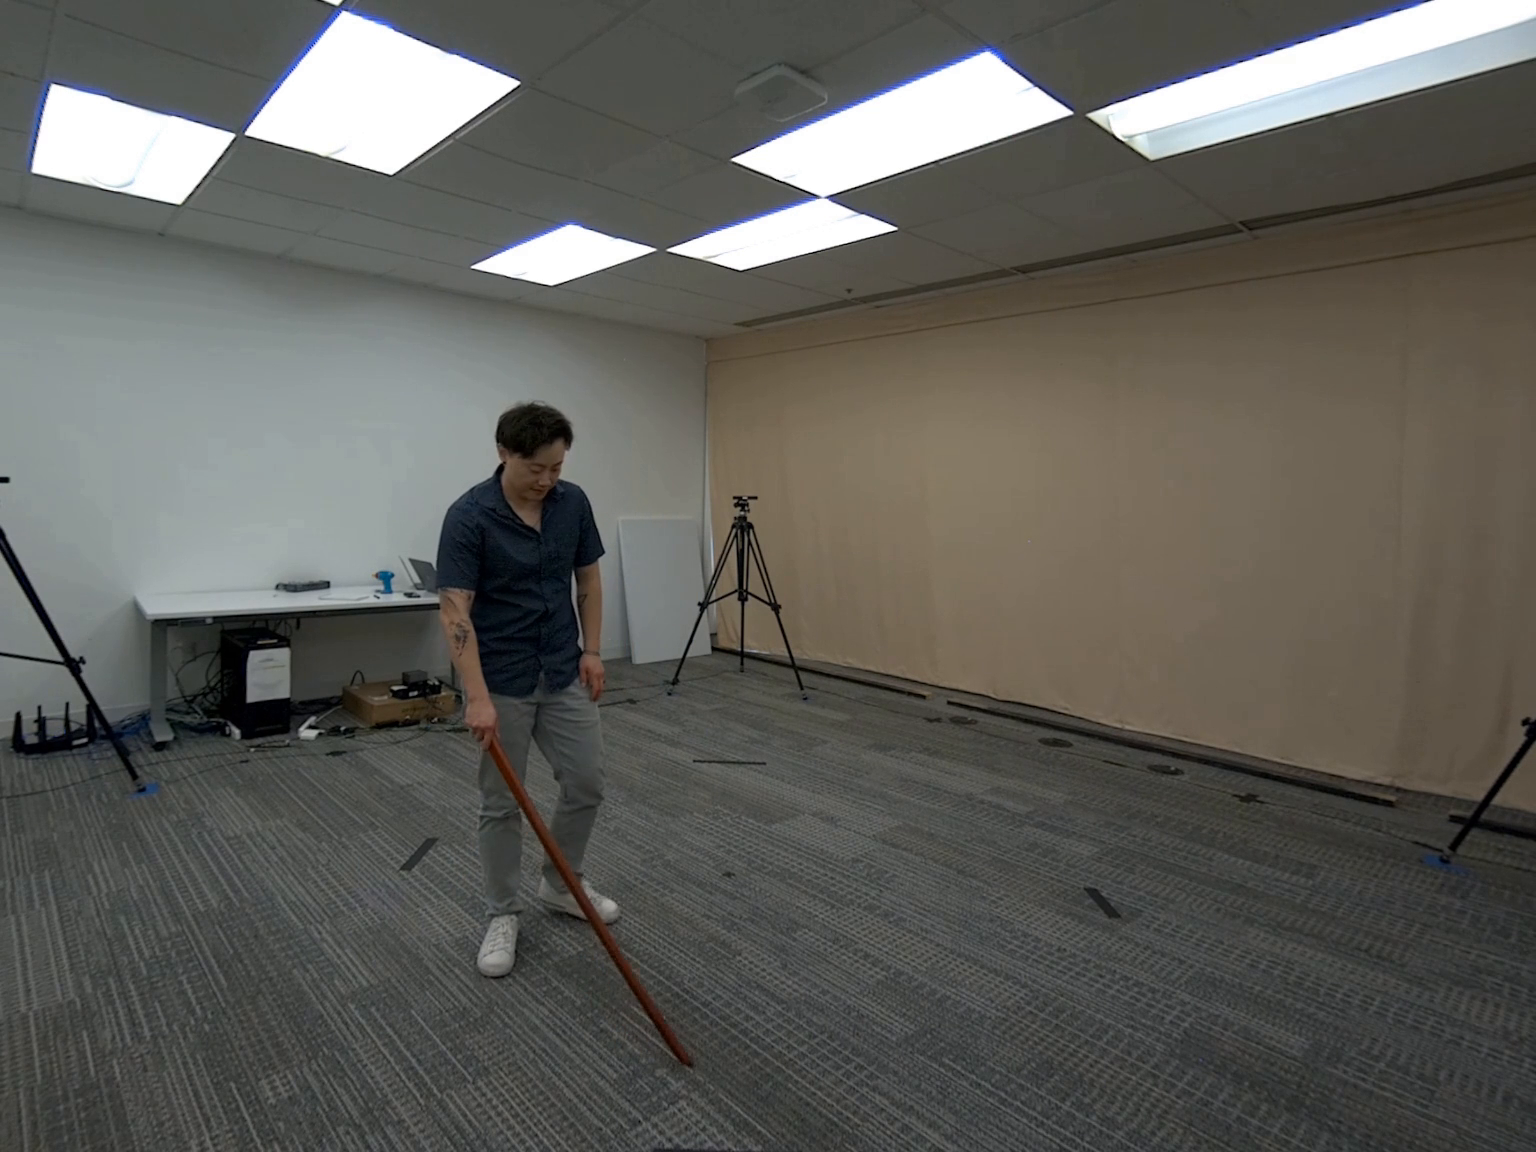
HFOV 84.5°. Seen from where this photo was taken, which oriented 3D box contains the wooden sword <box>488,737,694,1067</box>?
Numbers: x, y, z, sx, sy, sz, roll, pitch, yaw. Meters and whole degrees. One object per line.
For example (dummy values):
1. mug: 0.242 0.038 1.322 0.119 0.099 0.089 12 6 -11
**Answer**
1. wooden sword: -0.493 0.813 2.205 0.024 1.043 0.050 -40 -17 9
